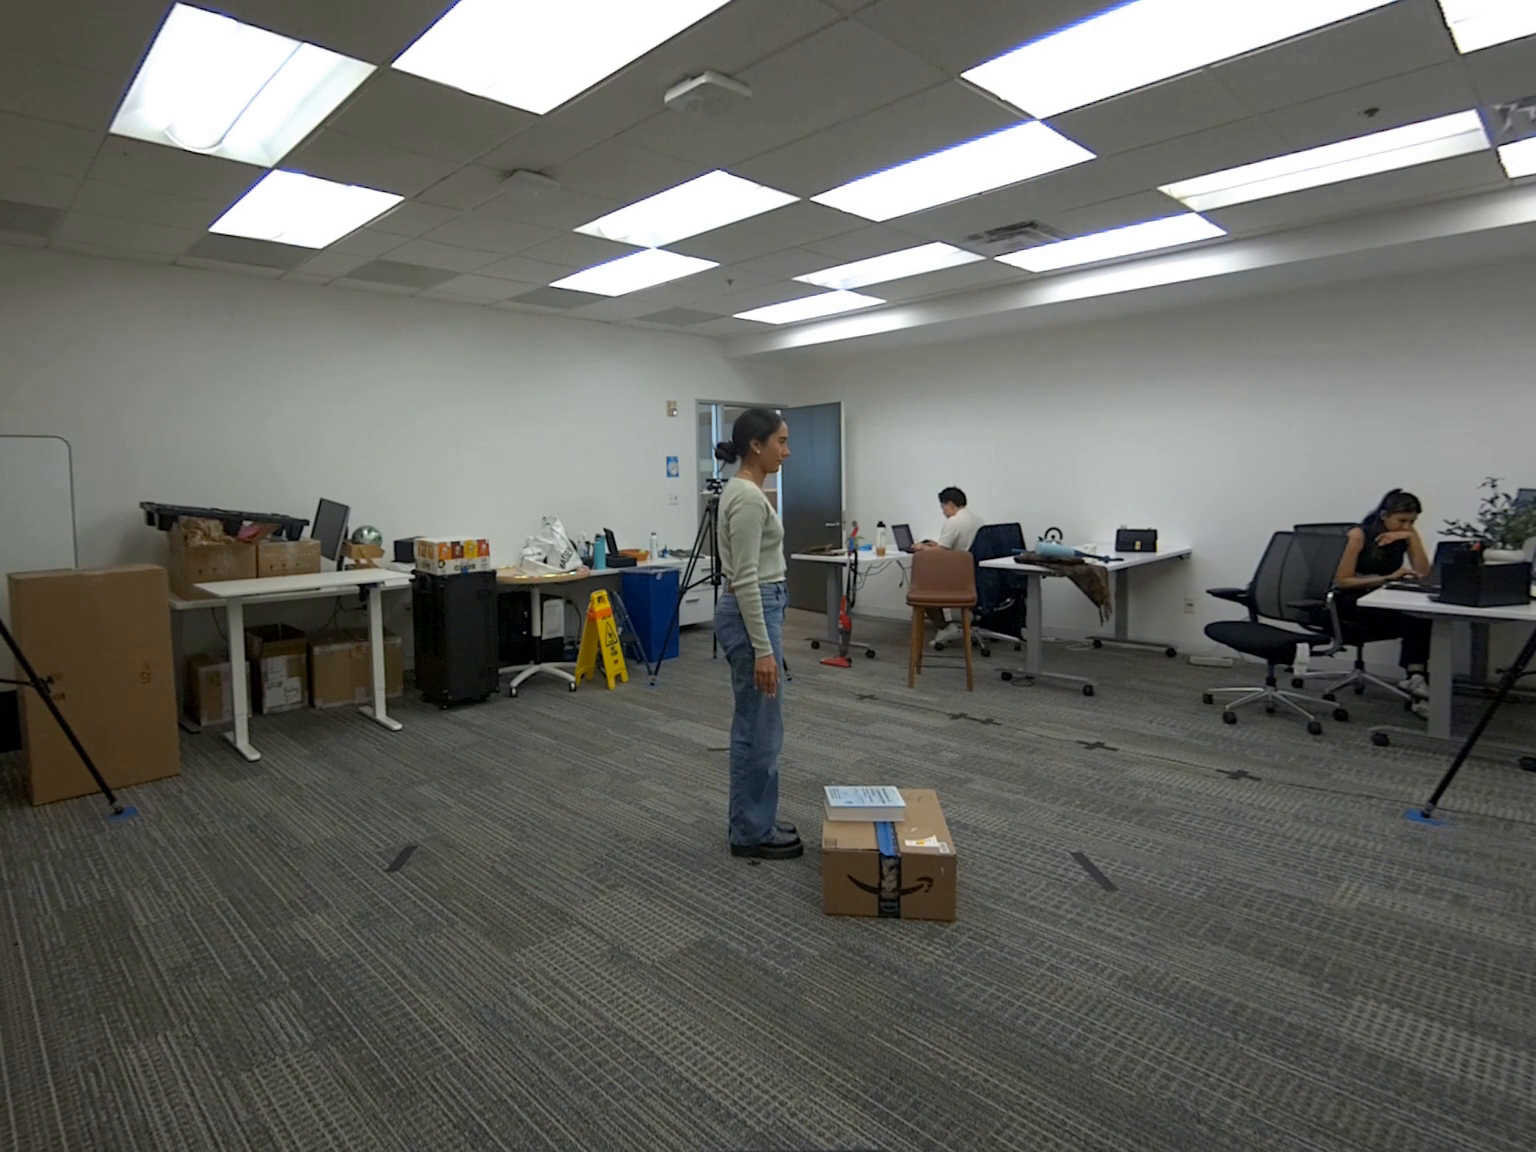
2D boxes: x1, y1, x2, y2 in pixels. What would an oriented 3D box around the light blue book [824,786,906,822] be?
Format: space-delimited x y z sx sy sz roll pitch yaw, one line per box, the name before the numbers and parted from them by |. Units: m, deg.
light blue book | 0.345 0.805 3.030 0.261 0.059 0.192 0 7 -1
